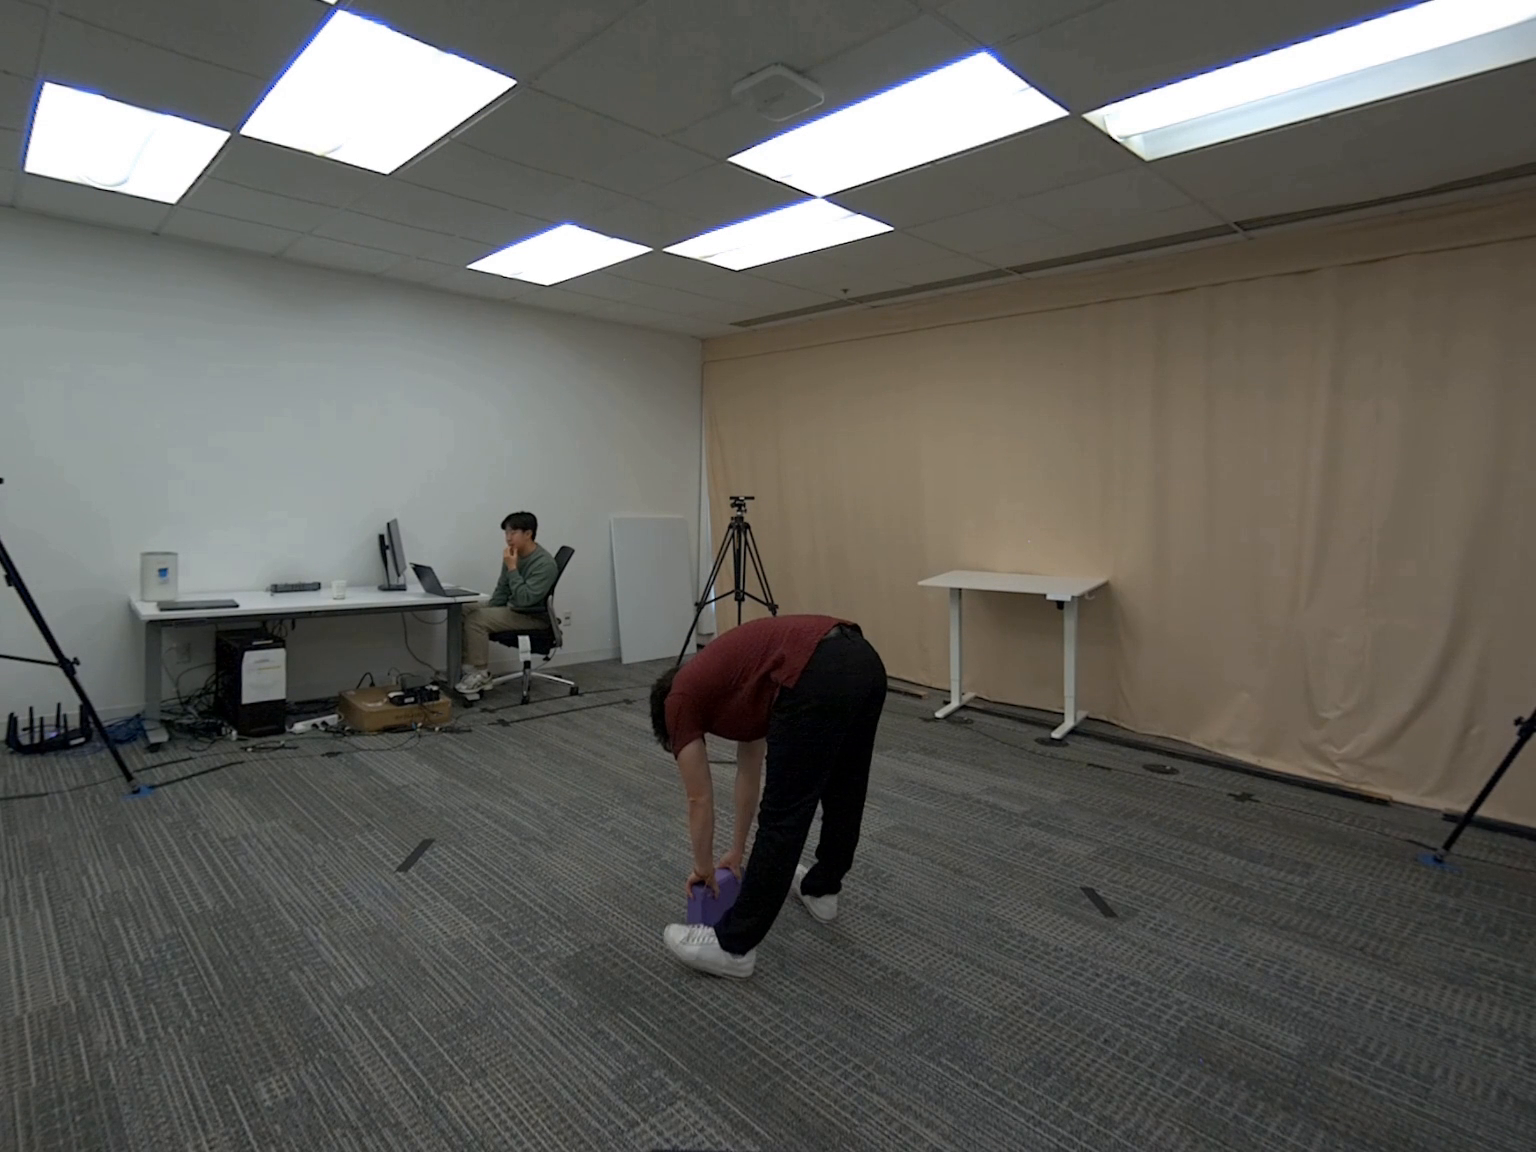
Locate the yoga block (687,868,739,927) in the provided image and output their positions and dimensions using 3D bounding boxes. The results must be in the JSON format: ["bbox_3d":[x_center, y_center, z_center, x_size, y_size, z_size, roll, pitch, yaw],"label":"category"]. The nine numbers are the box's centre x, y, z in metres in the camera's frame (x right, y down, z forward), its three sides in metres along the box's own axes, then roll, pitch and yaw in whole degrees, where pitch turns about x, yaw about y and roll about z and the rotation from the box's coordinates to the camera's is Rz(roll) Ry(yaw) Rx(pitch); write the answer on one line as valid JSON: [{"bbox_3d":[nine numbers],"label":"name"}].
[{"bbox_3d":[-0.167,1.062,2.767,0.078,0.148,0.225,7,9,34],"label":"yoga block"}]
